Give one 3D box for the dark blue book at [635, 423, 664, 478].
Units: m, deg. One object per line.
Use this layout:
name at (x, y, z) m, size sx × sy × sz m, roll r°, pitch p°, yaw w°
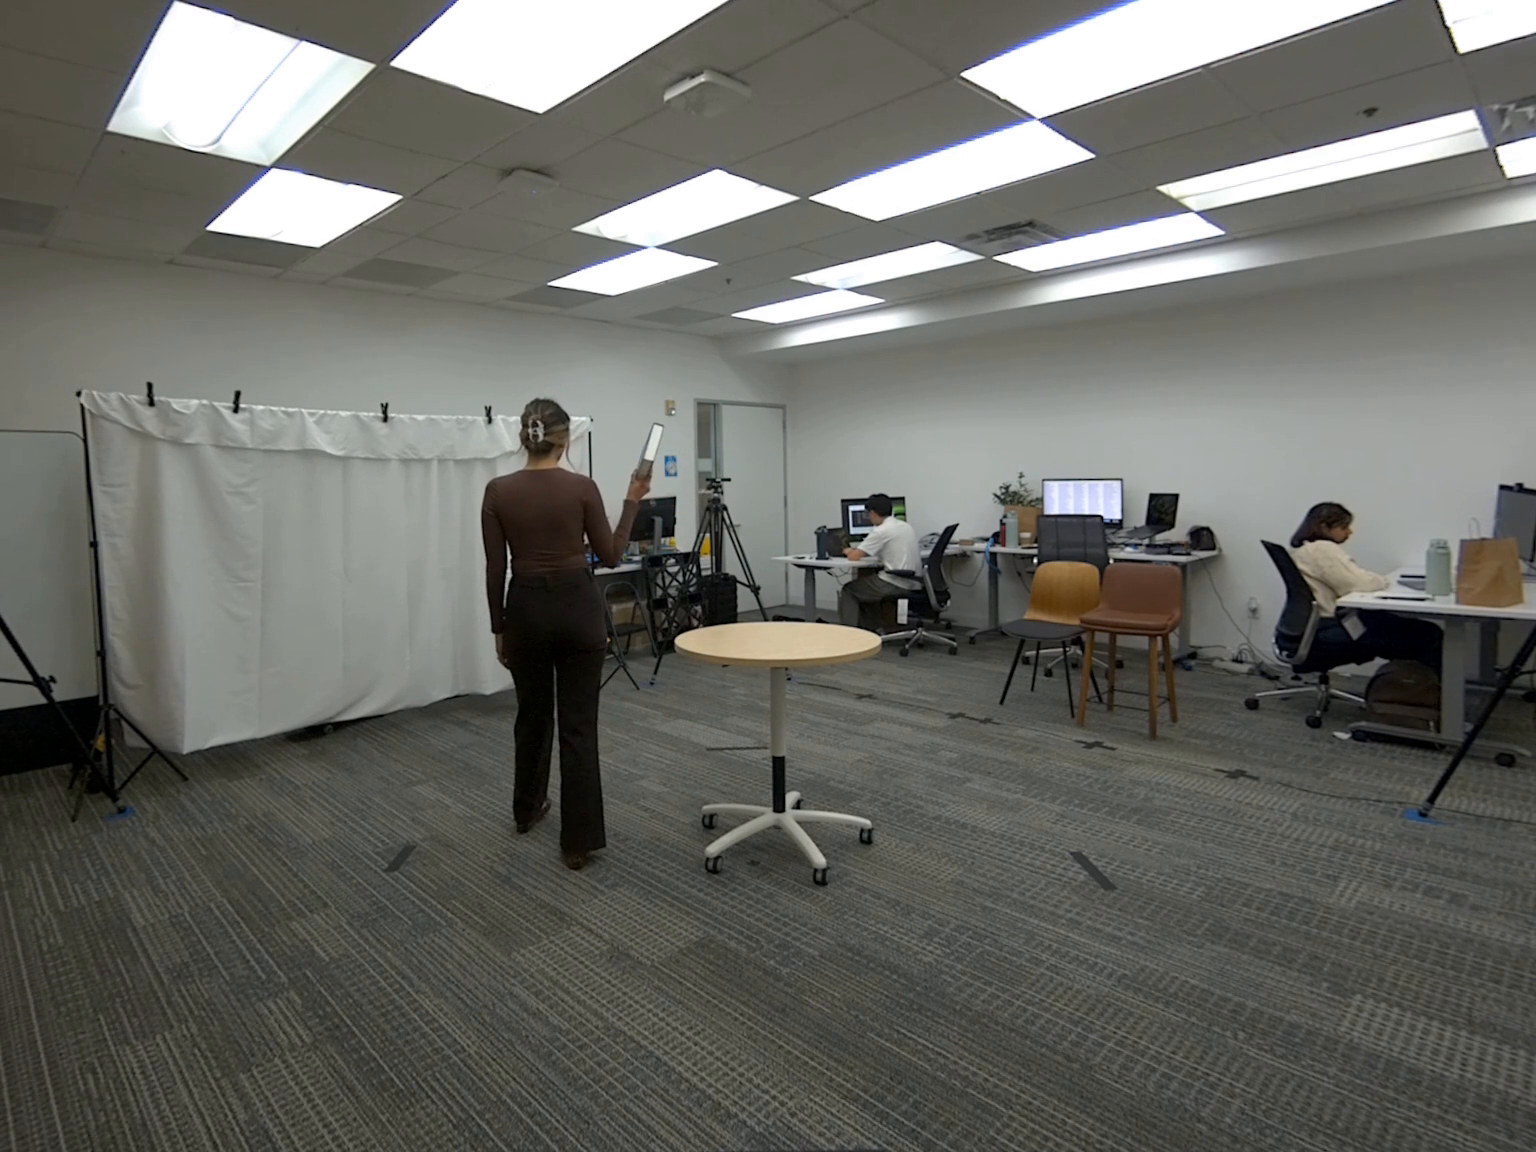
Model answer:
dark blue book at (-0.468, -0.465, 3.294) m, size 0.045 × 0.166 × 0.243 m, roll 13°, pitch -20°, yaw -8°
